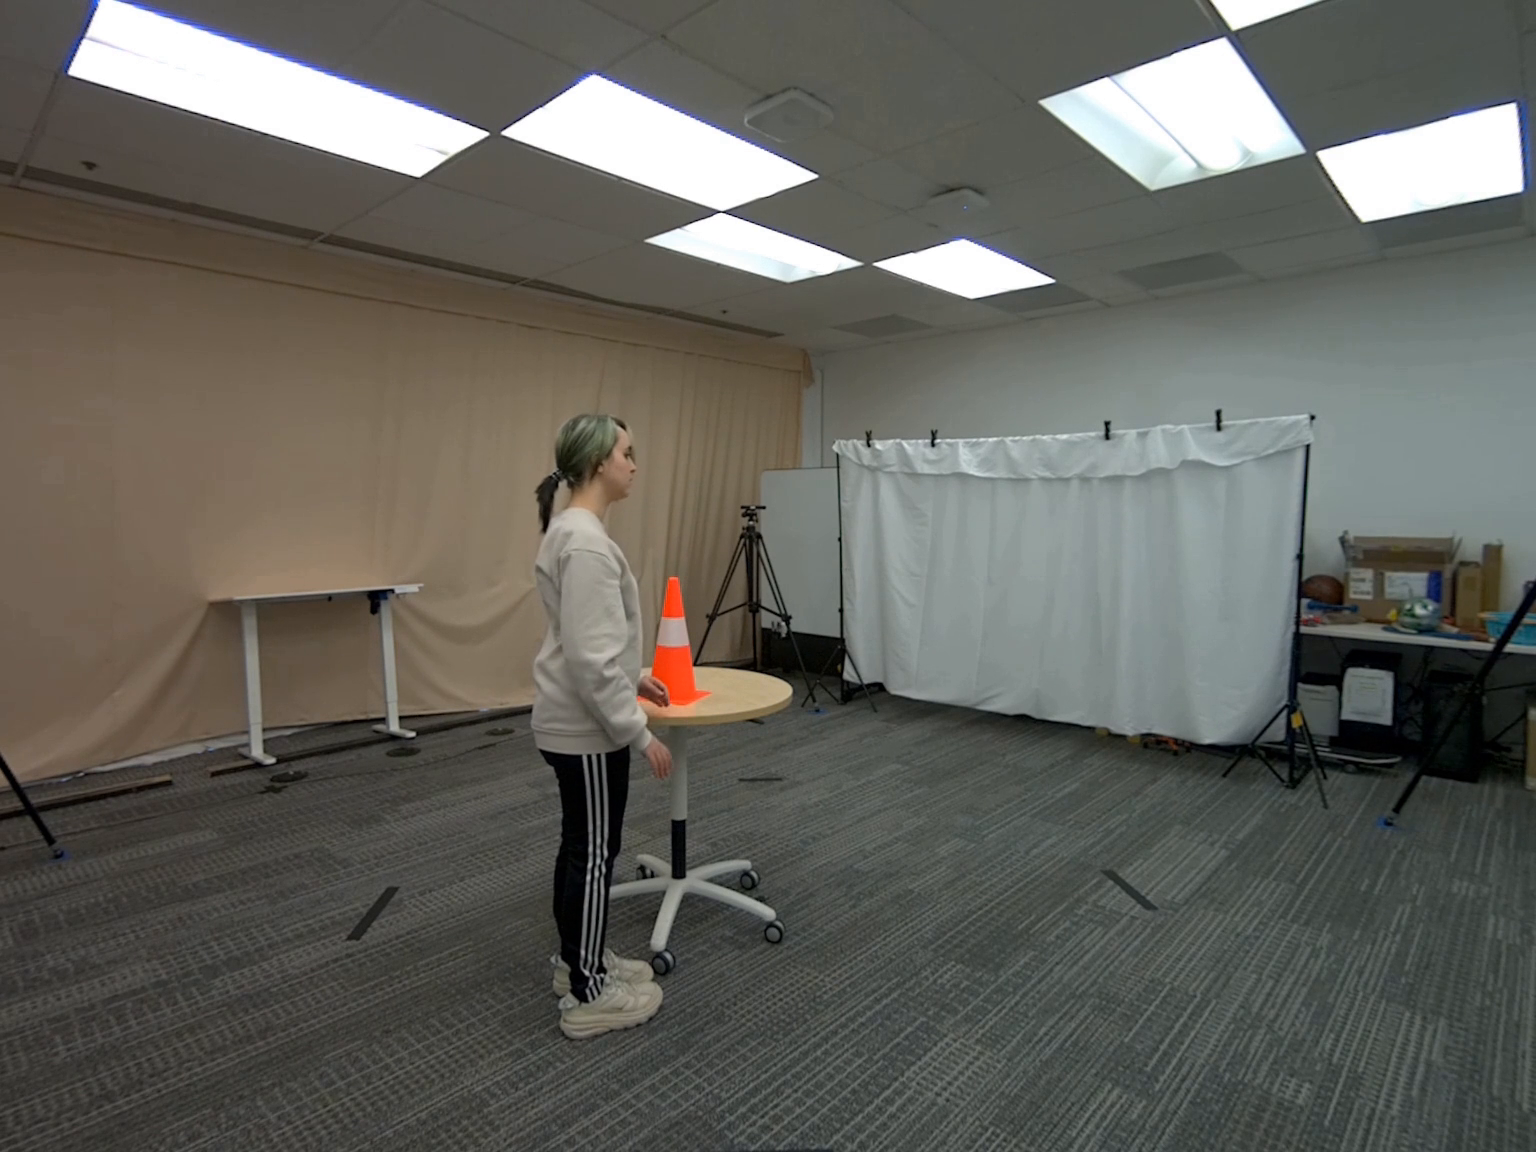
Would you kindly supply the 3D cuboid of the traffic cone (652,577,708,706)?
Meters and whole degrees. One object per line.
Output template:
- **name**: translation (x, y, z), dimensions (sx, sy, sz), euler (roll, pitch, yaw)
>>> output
- **traffic cone**: translation (-0.304, 0.198, 2.689), dimensions (0.197, 0.382, 0.212), euler (-4, 6, -43)
